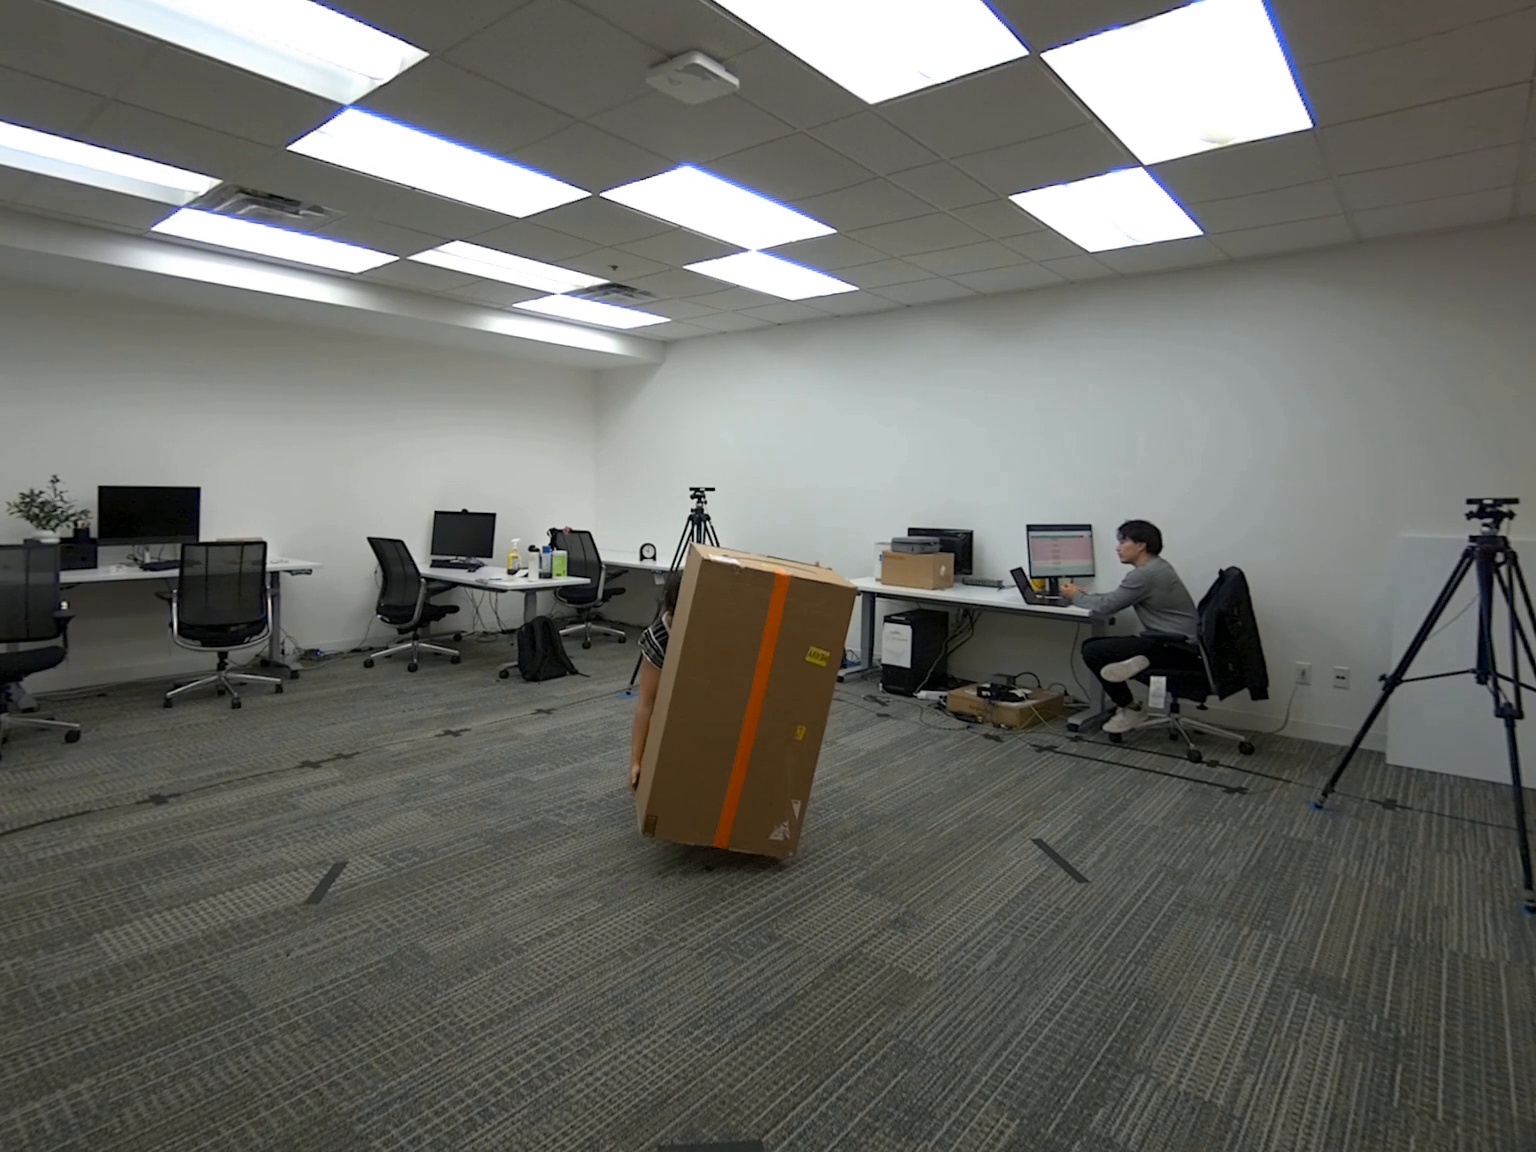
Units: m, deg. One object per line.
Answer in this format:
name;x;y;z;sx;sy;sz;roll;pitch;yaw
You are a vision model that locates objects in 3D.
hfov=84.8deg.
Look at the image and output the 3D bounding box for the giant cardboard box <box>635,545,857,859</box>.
giant cardboard box;-0.109;0.445;3.213;0.569;1.021;0.434;11;6;-13
